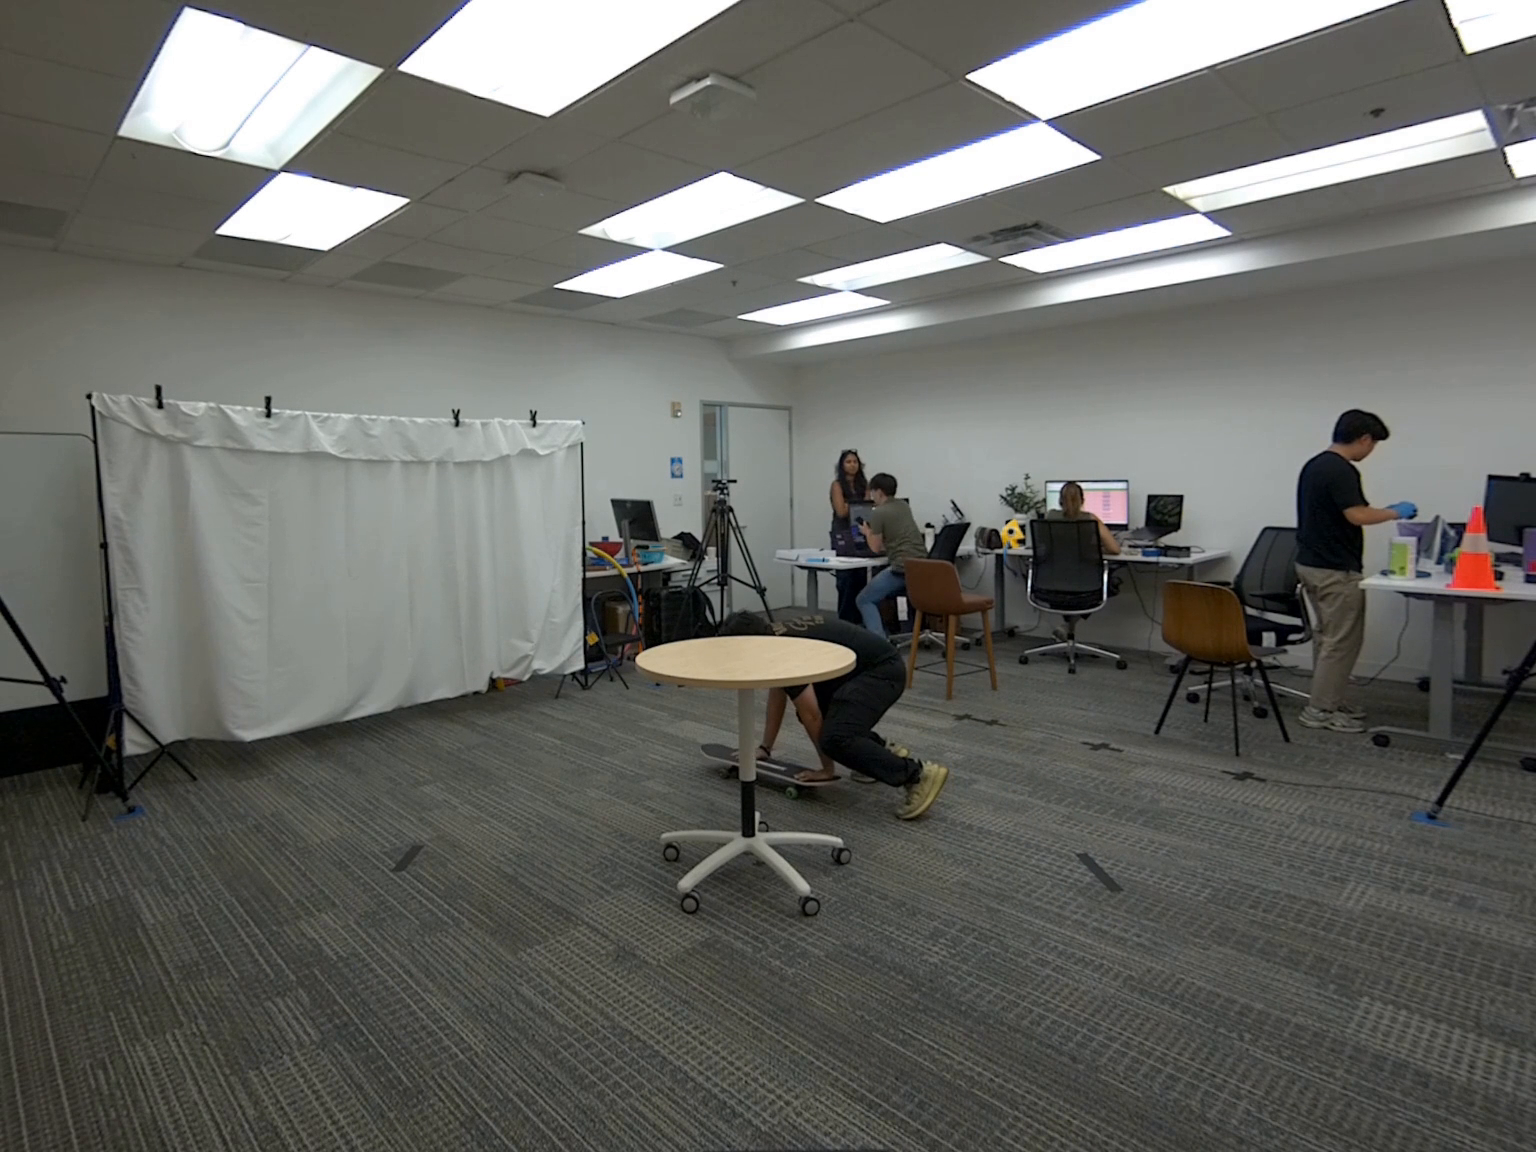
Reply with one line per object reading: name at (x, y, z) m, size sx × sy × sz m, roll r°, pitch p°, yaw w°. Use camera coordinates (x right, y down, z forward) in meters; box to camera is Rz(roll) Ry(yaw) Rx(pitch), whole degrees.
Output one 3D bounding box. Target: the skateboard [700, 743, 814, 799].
skateboard at (0.000, 0.902, 3.929) m, size 0.809 × 0.110 × 0.188 m, roll 4°, pitch 3°, yaw 42°
